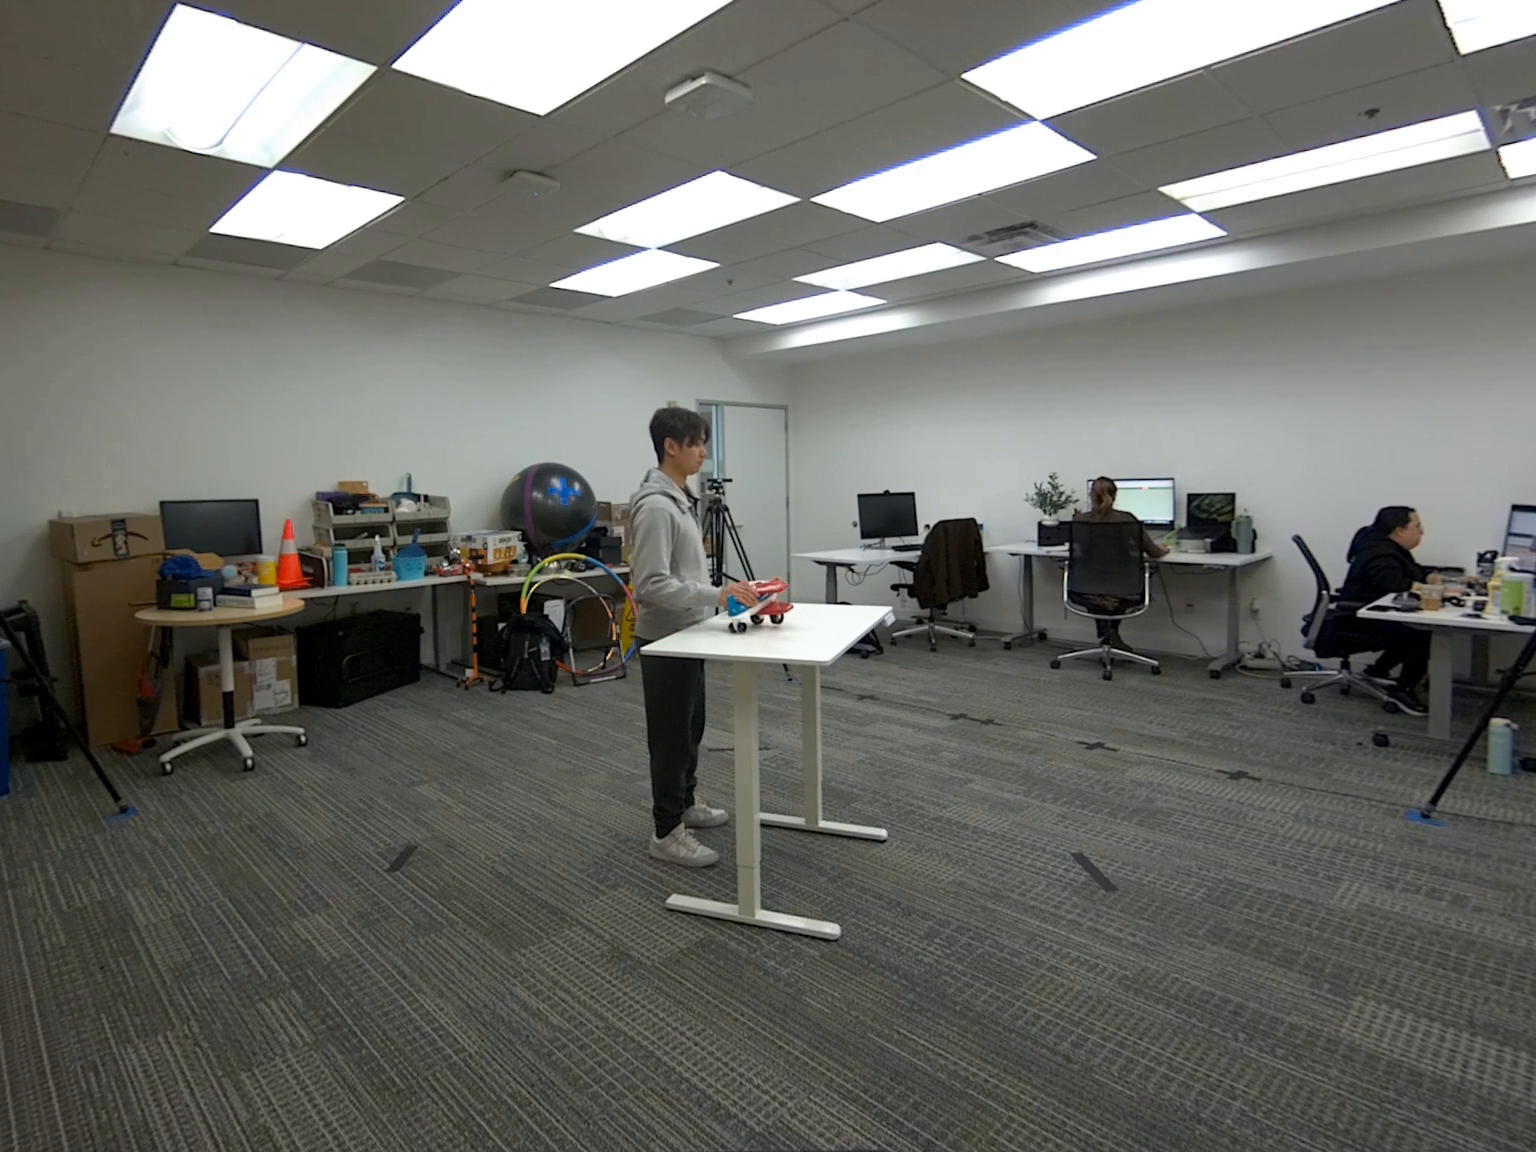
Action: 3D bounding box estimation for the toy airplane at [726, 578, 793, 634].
[{"bbox_3d":[-0.041,0.101,2.929,0.253,0.156,0.258,-6,3,7],"label":"toy airplane"}]
